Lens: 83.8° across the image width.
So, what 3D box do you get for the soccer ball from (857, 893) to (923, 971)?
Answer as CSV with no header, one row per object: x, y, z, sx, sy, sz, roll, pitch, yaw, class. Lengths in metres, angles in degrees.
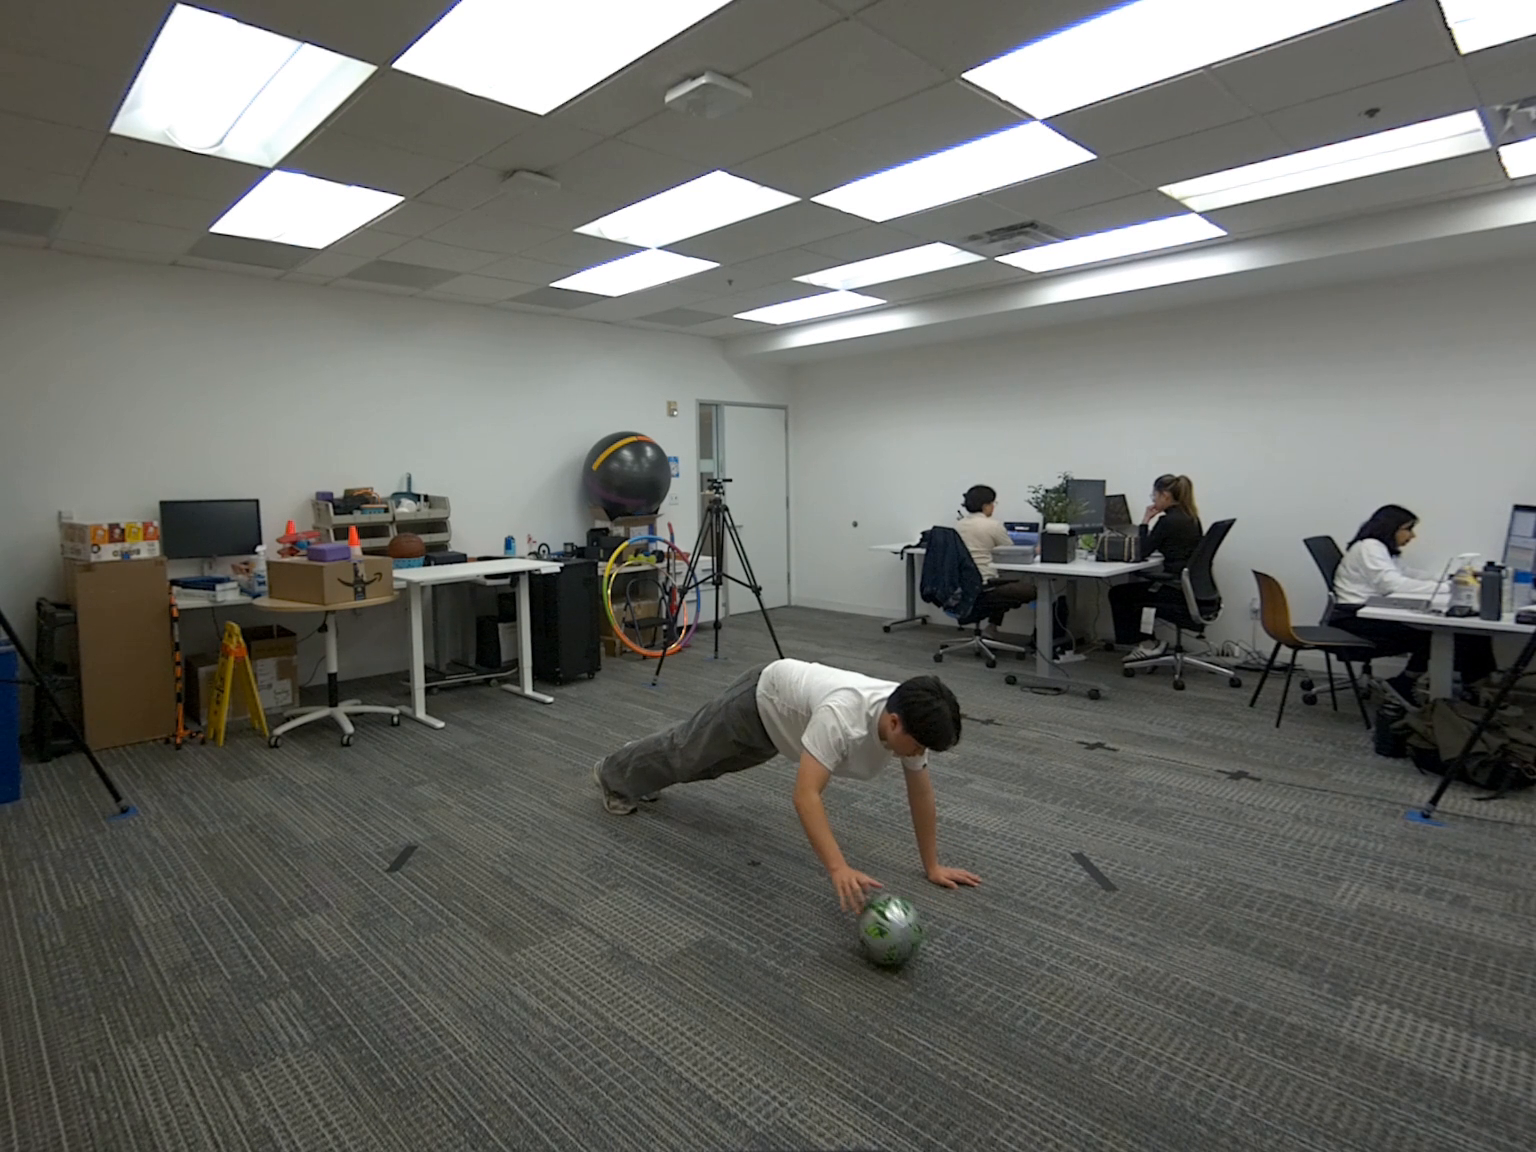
0.364,1.025,2.461,0.187,0.187,0.188,-1,5,-2,soccer ball
